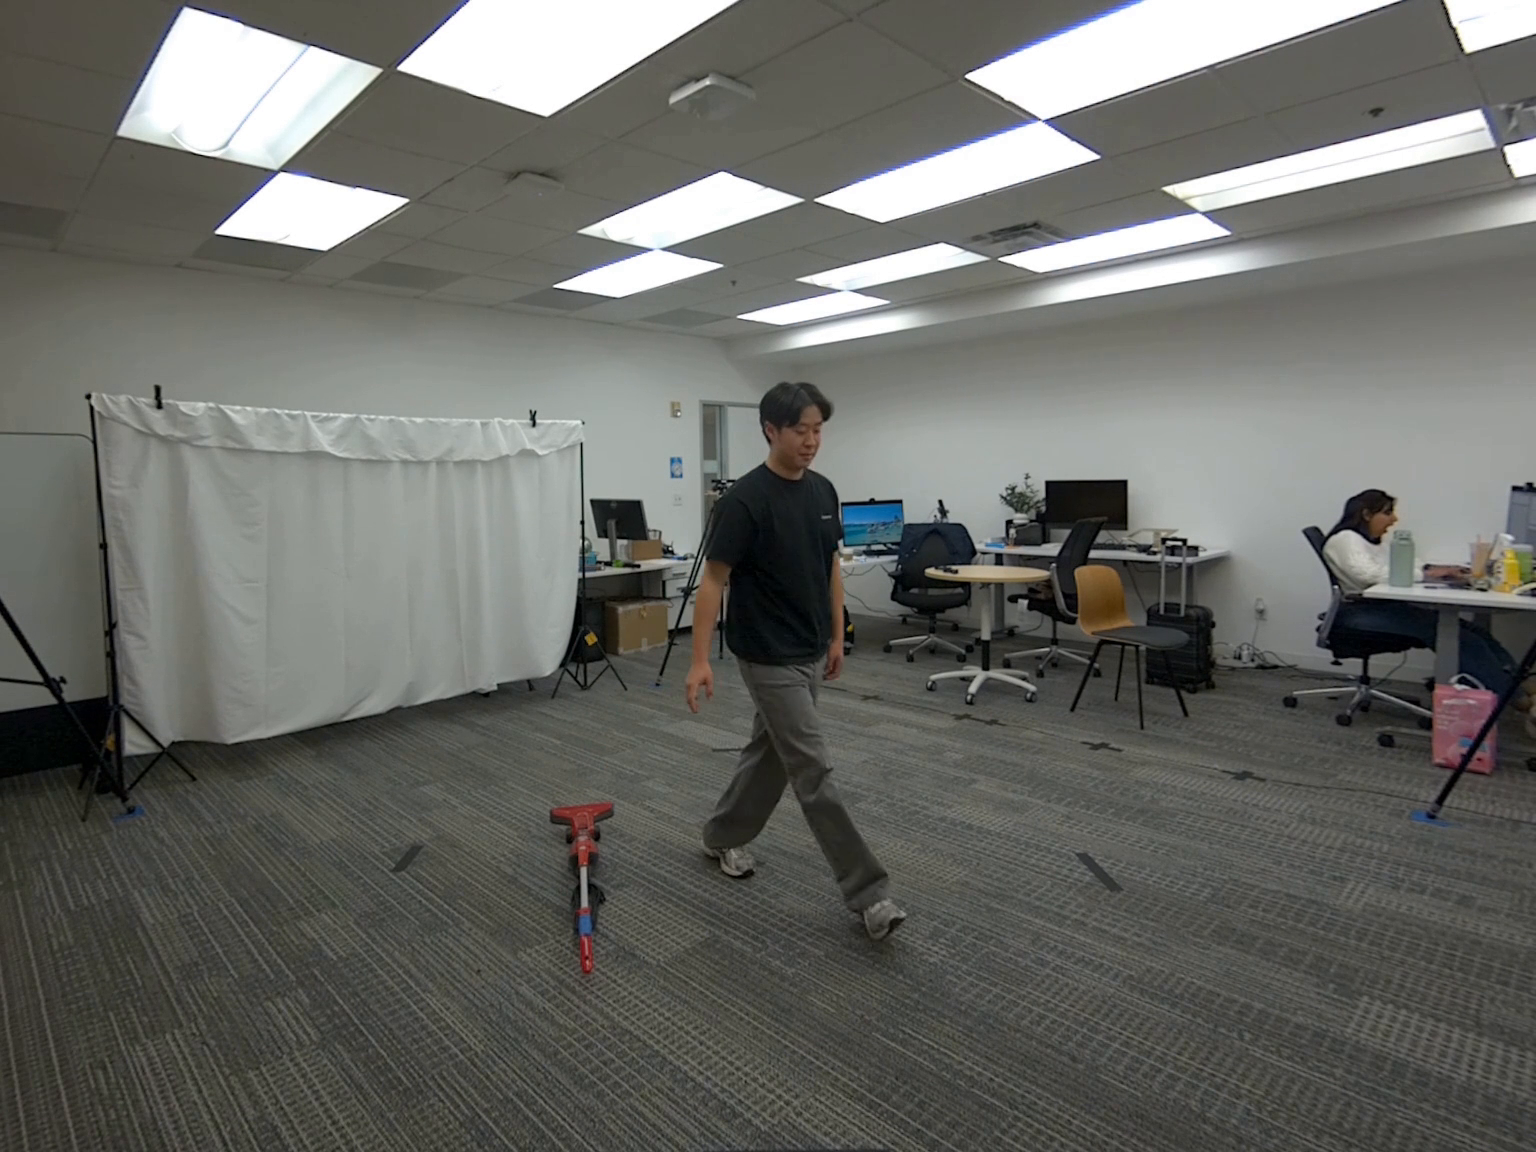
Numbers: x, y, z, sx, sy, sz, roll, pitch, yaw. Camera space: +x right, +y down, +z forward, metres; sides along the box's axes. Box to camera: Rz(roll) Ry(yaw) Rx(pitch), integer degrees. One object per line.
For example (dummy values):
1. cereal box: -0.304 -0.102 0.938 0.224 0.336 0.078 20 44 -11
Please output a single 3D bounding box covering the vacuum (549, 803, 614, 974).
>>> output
1. vacuum: -0.604 1.025 2.854 0.250 0.143 1.066 -4 8 -12
